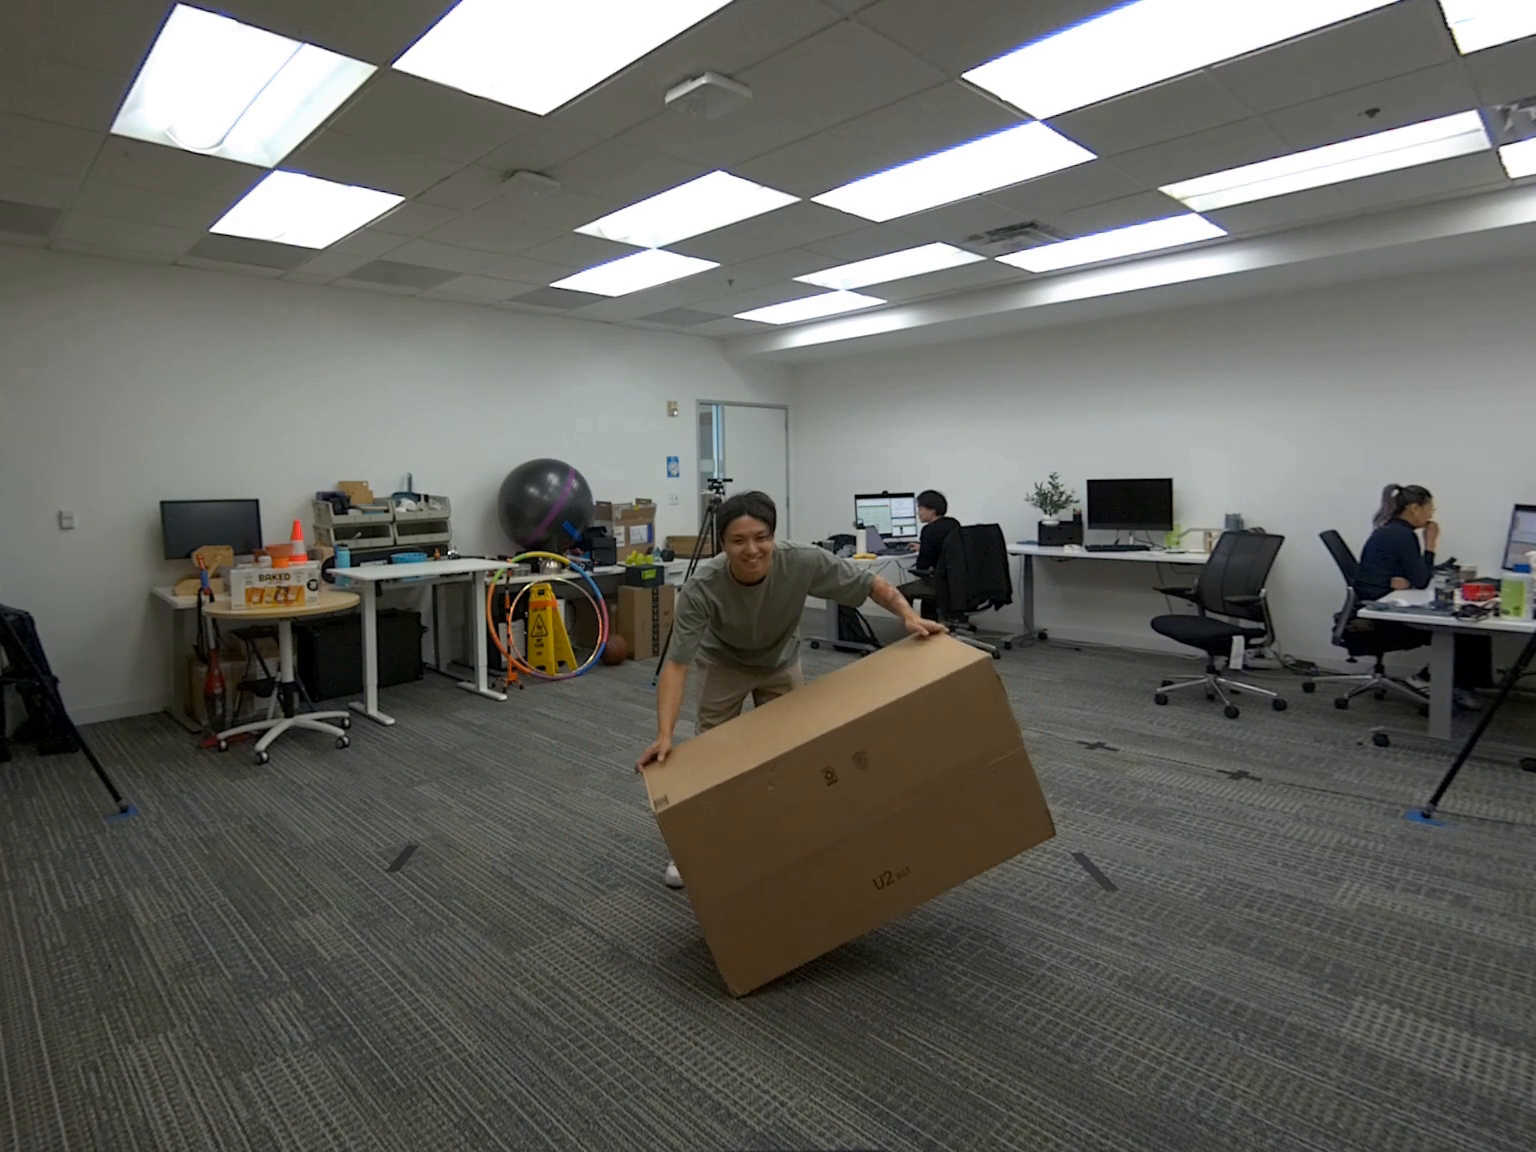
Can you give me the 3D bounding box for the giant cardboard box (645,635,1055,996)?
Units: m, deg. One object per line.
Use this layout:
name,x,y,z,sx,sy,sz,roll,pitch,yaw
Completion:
giant cardboard box,0.218,0.671,2.513,1.022,0.572,0.432,-24,9,-7
